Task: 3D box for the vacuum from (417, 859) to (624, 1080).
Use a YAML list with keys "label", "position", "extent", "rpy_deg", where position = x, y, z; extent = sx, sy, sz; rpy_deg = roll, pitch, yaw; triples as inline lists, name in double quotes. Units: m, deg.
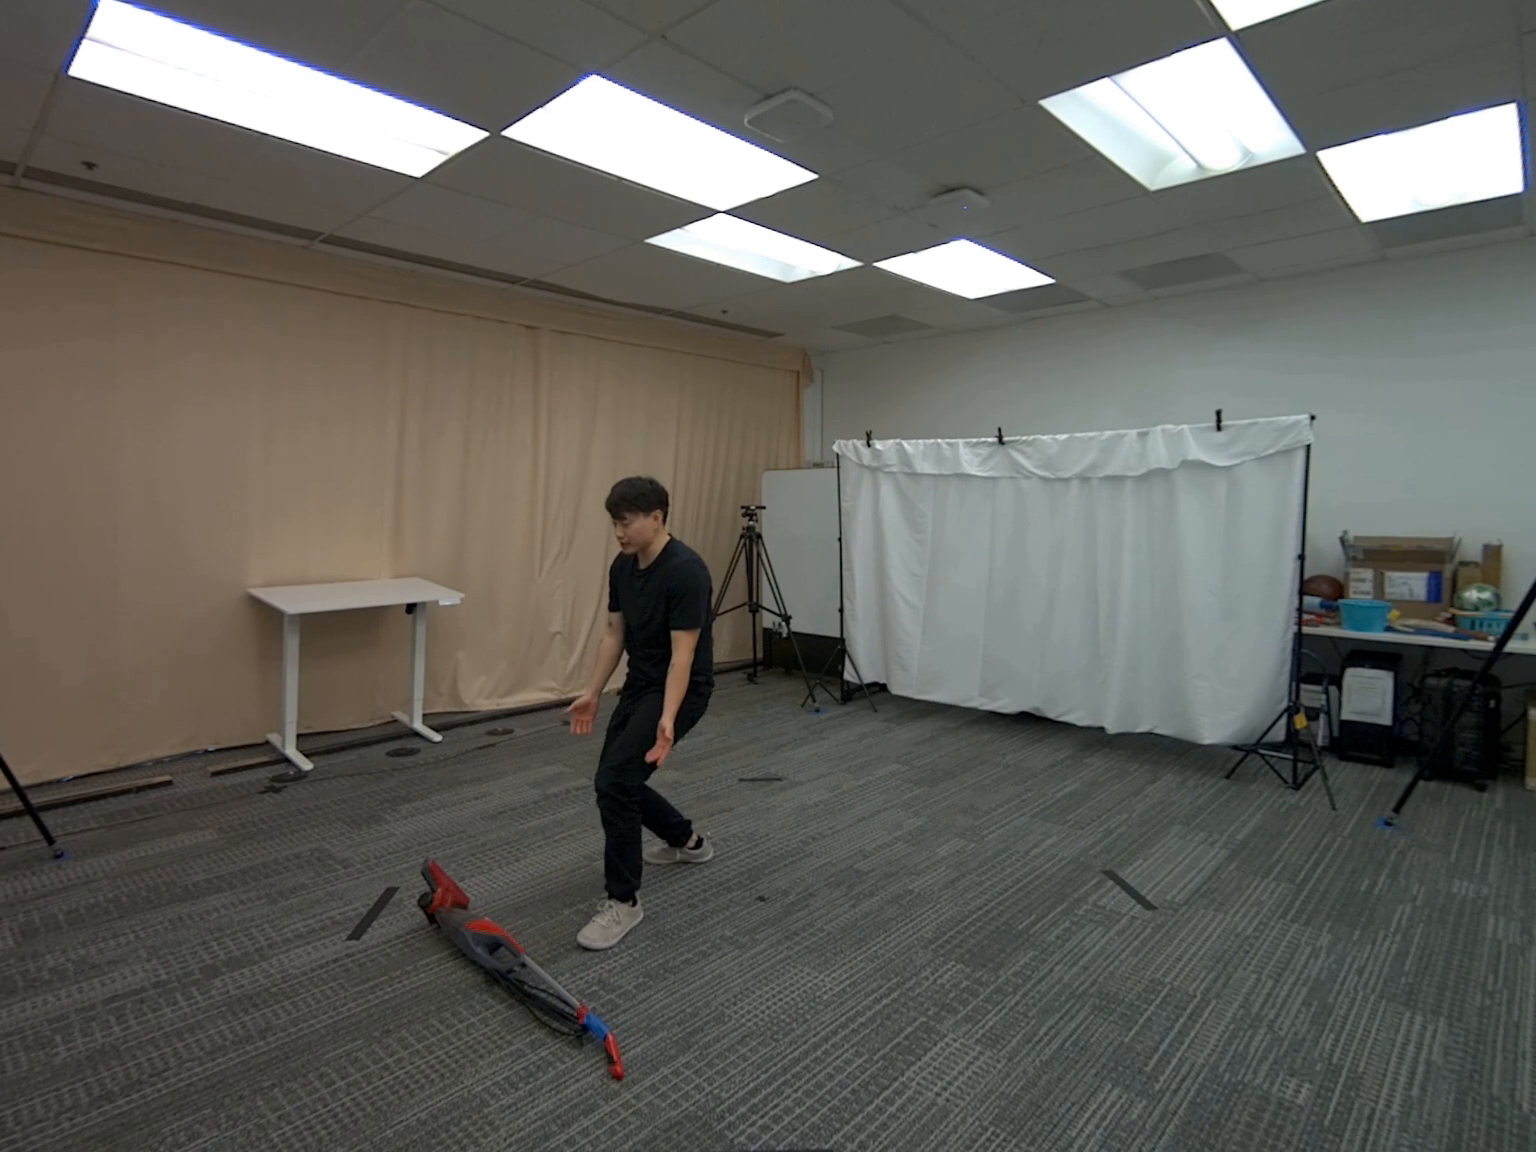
- label: "vacuum"
  position: [-0.737, 1.146, 2.439]
  extent: [1.086, 0.246, 0.143]
  rpy_deg: [11, 46, 46]
